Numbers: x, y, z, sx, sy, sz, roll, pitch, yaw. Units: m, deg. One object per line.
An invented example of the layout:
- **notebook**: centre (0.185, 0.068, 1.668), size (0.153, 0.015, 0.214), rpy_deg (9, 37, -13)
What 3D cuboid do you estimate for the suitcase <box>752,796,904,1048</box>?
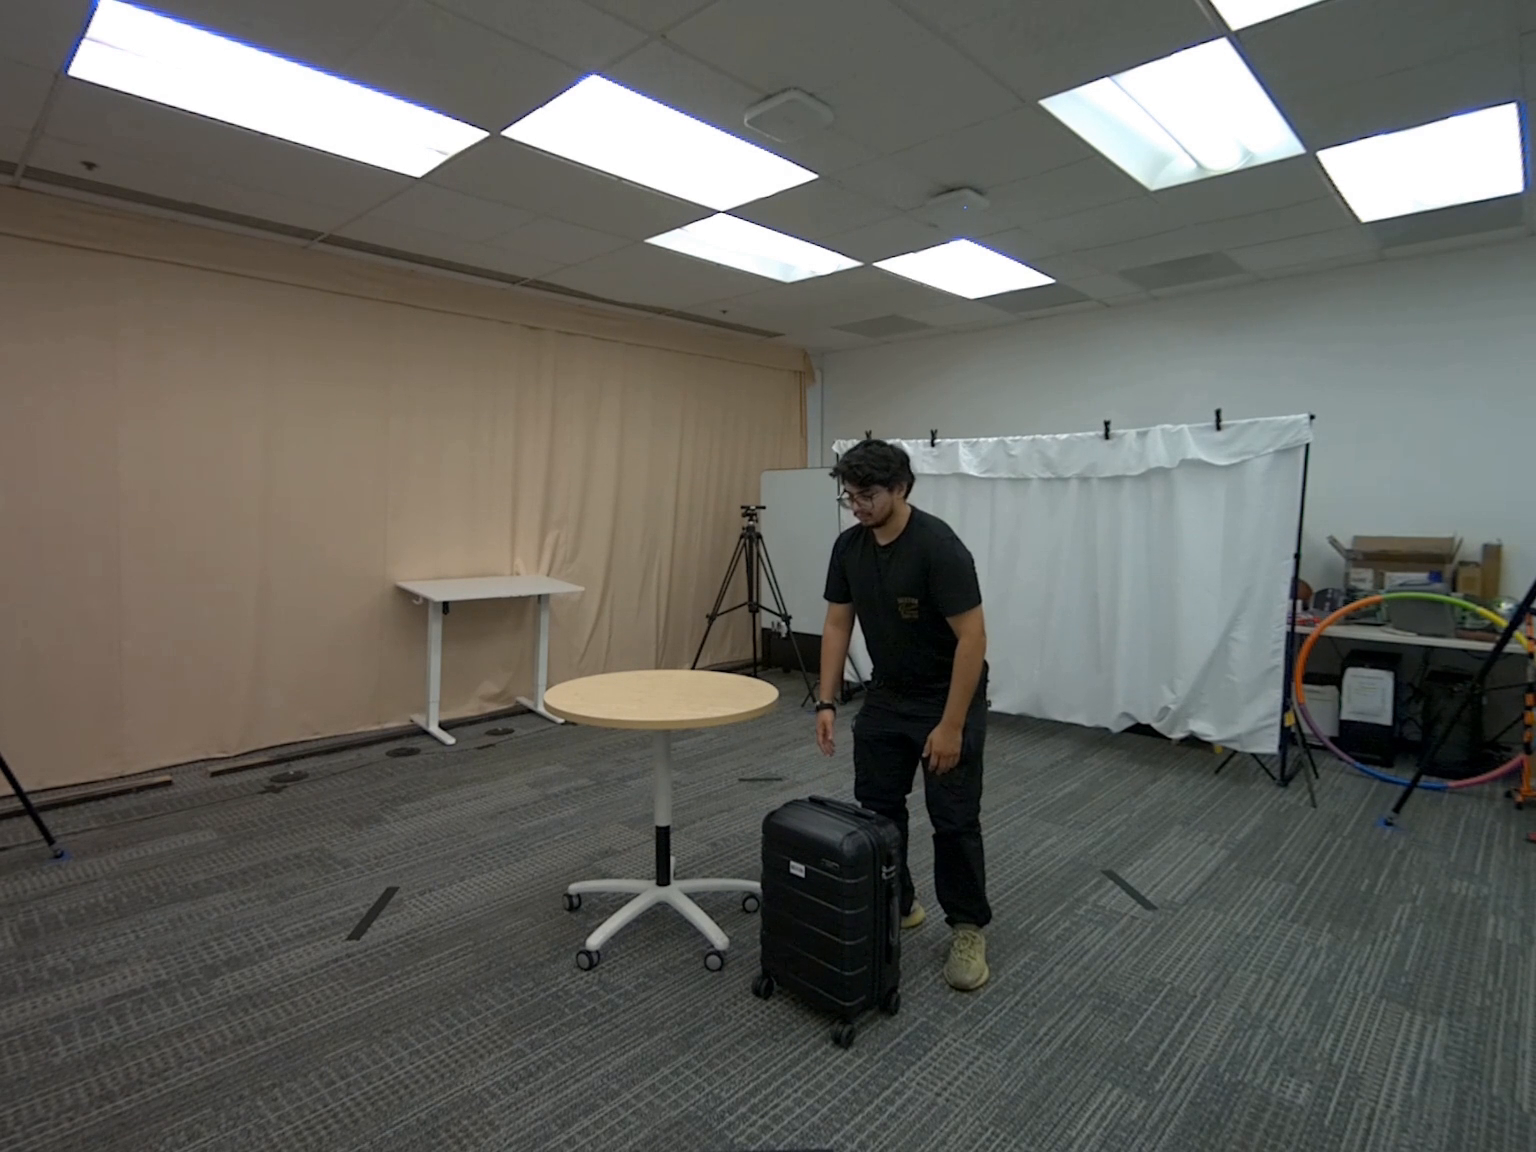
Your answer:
- **suitcase**: centre (0.178, 0.921, 2.348), size (0.240, 0.548, 0.388), rpy_deg (-1, 3, -45)
